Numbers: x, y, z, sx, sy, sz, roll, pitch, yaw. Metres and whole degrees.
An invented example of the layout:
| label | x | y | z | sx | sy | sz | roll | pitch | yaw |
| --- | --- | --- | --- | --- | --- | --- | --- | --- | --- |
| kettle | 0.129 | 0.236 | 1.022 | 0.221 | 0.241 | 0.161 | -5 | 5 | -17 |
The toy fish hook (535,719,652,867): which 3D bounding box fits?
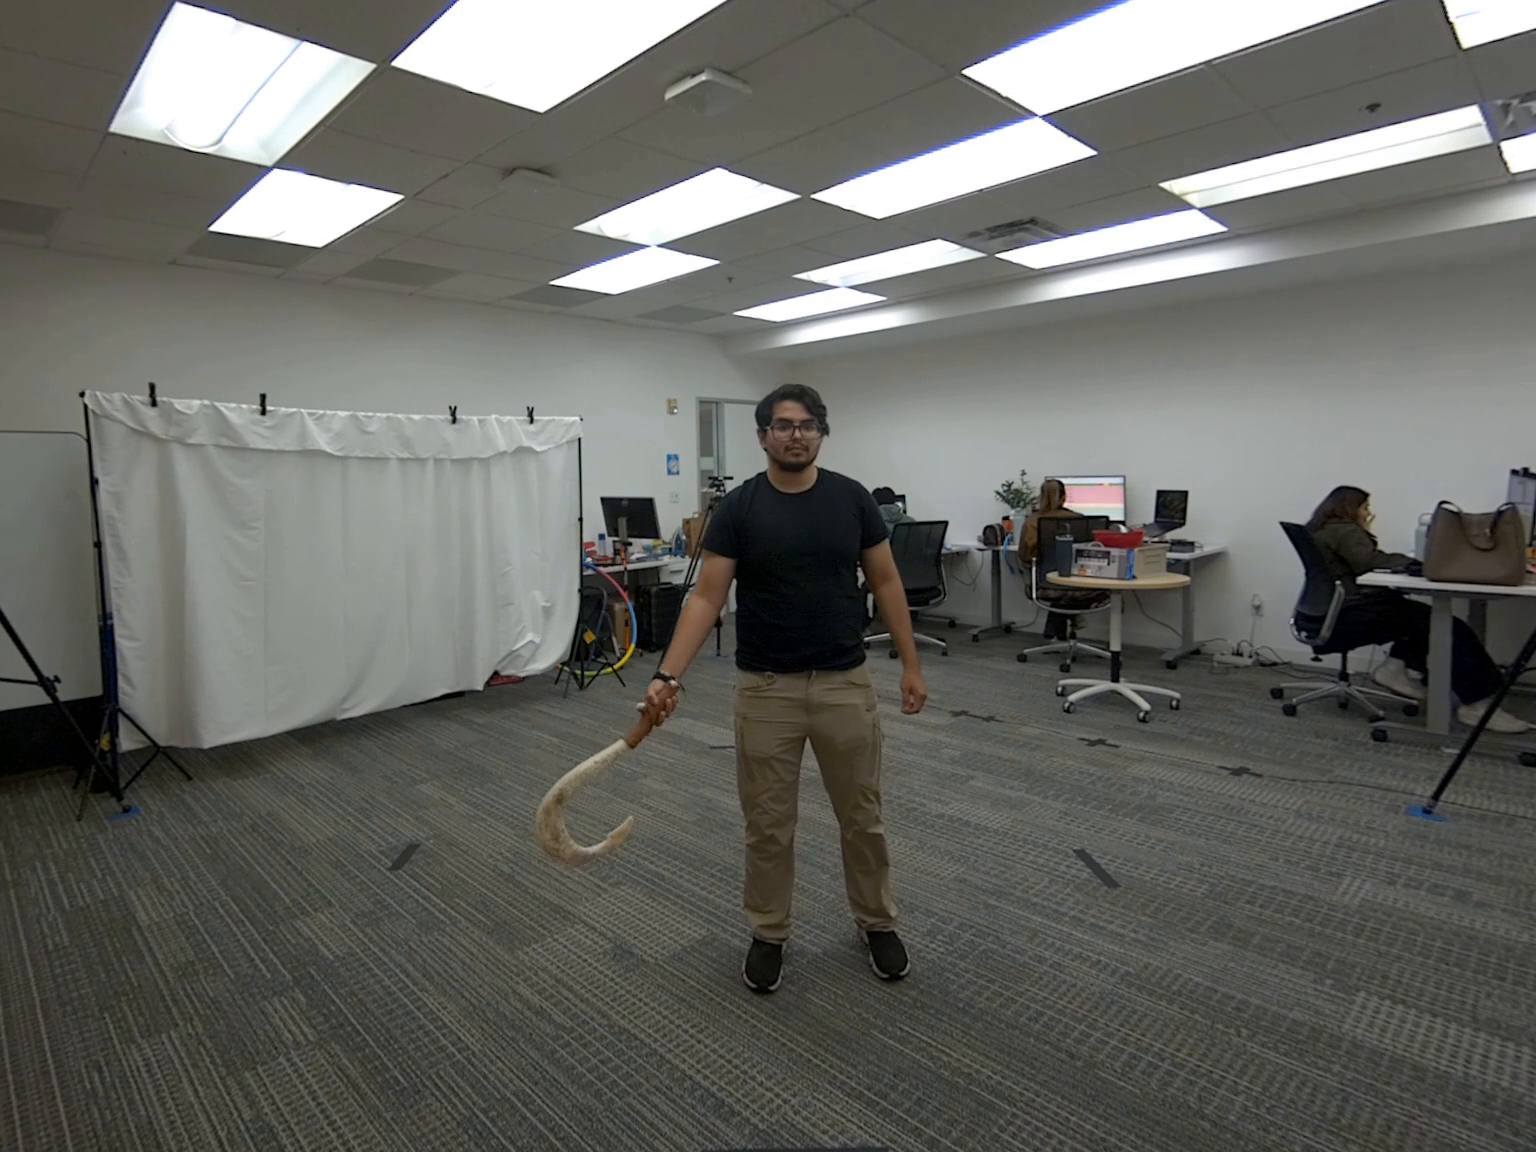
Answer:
| label | x | y | z | sx | sy | sz | roll | pitch | yaw |
| --- | --- | --- | --- | --- | --- | --- | --- | --- | --- |
| toy fish hook | -0.347 | 0.479 | 2.090 | 0.506 | 0.219 | 0.049 | -47 | 22 | -24 |
